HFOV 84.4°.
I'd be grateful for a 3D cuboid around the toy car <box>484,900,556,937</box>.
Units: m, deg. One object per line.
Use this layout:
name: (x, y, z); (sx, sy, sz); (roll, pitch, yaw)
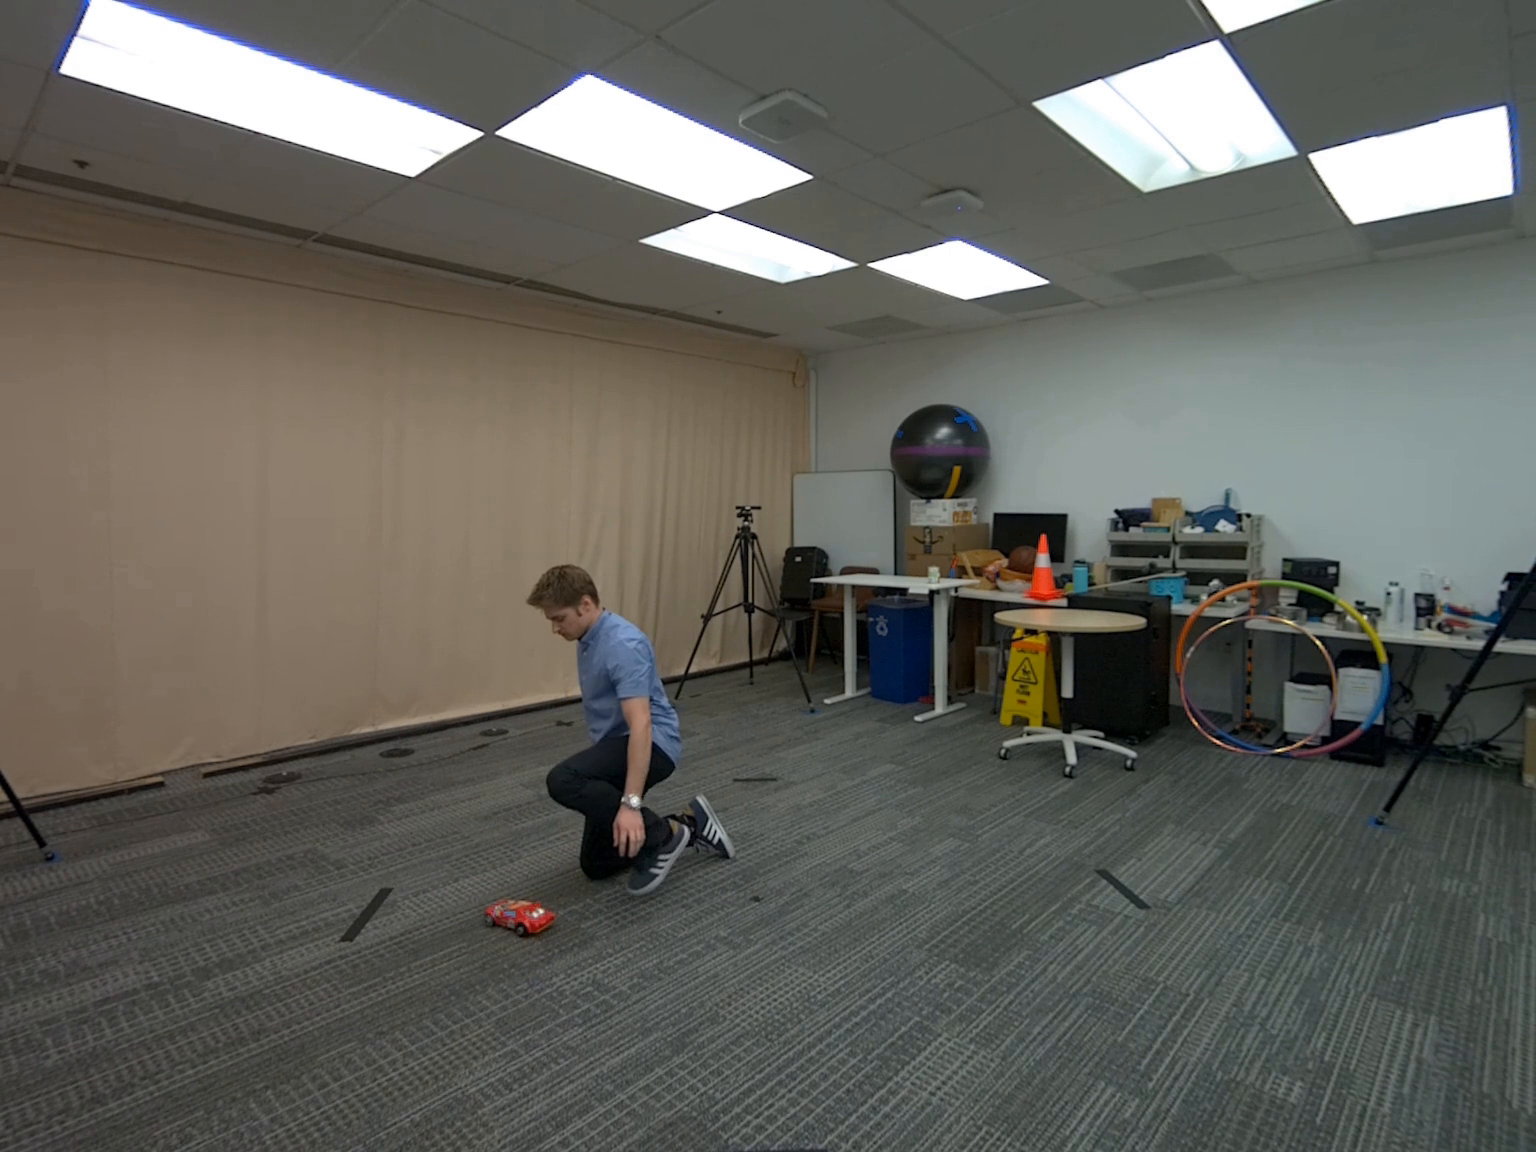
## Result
toy car: (-0.820, 1.130, 2.793); (0.260, 0.083, 0.127); (-10, 0, 28)
